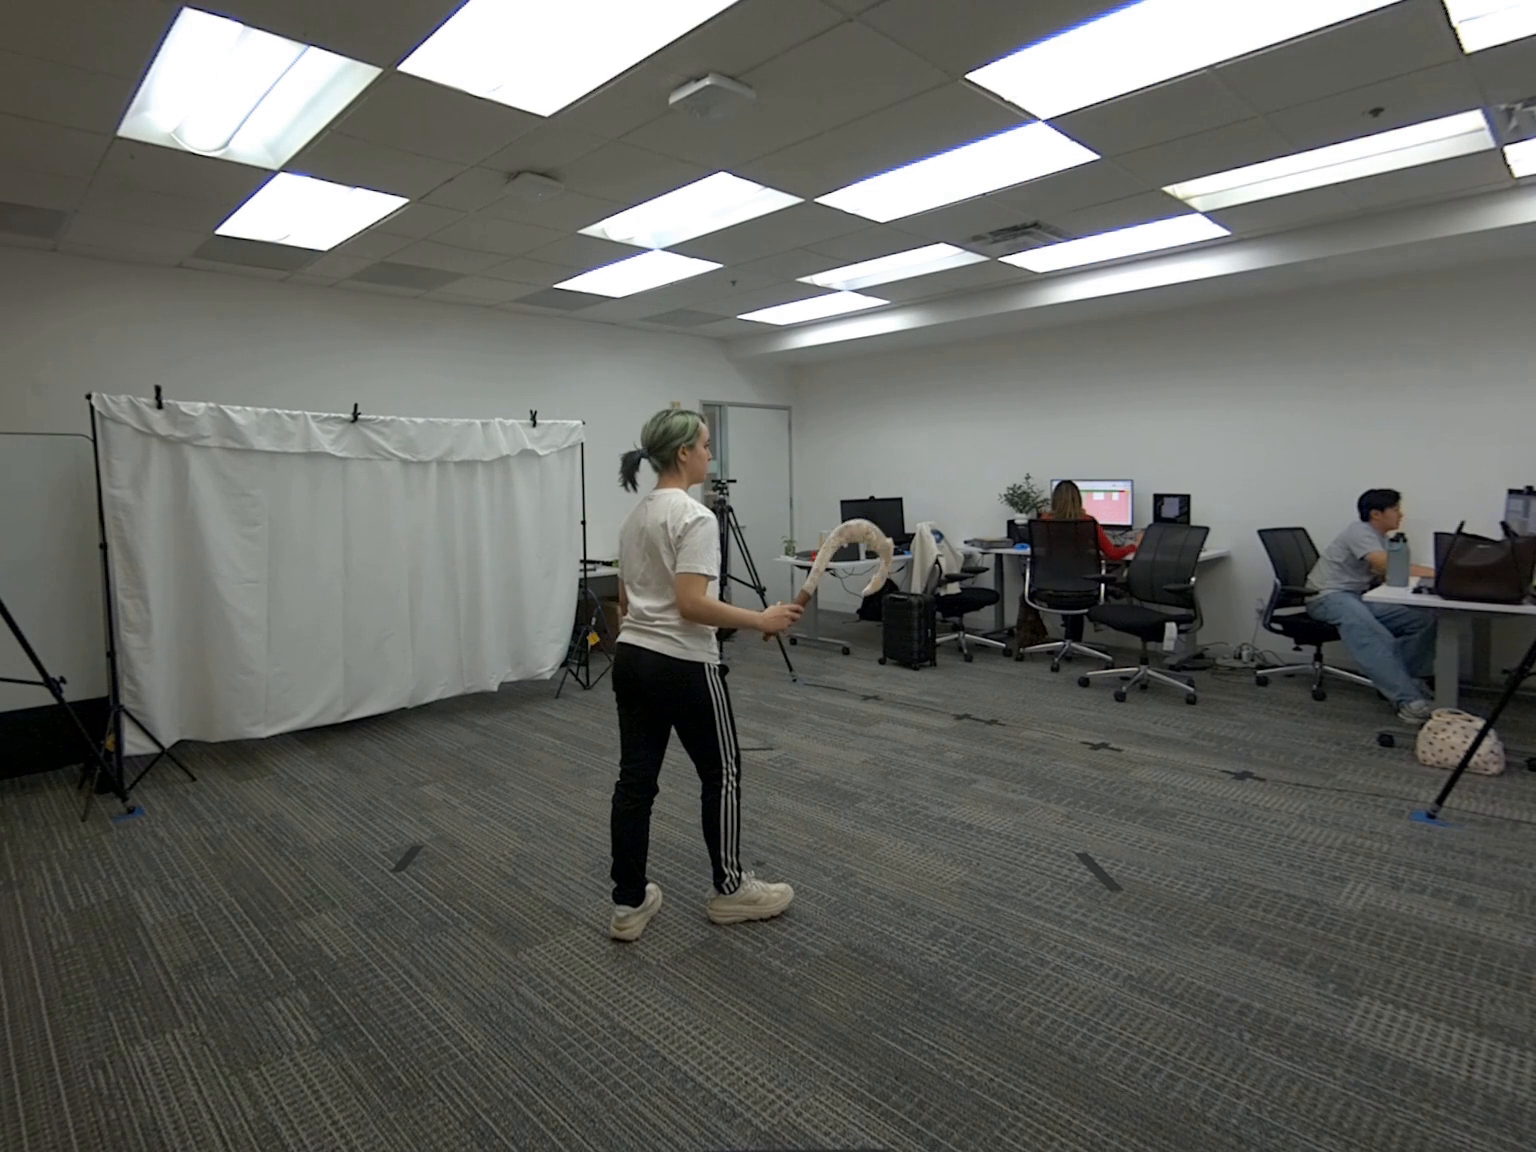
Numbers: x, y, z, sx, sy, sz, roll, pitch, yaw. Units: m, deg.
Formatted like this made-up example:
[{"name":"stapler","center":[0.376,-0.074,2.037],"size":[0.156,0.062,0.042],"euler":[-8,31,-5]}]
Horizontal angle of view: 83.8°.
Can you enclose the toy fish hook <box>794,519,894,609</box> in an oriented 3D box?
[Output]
[{"name":"toy fish hook","center":[0.187,0.048,2.620],"size":[0.228,0.507,0.047],"euler":[39,-11,12]}]
